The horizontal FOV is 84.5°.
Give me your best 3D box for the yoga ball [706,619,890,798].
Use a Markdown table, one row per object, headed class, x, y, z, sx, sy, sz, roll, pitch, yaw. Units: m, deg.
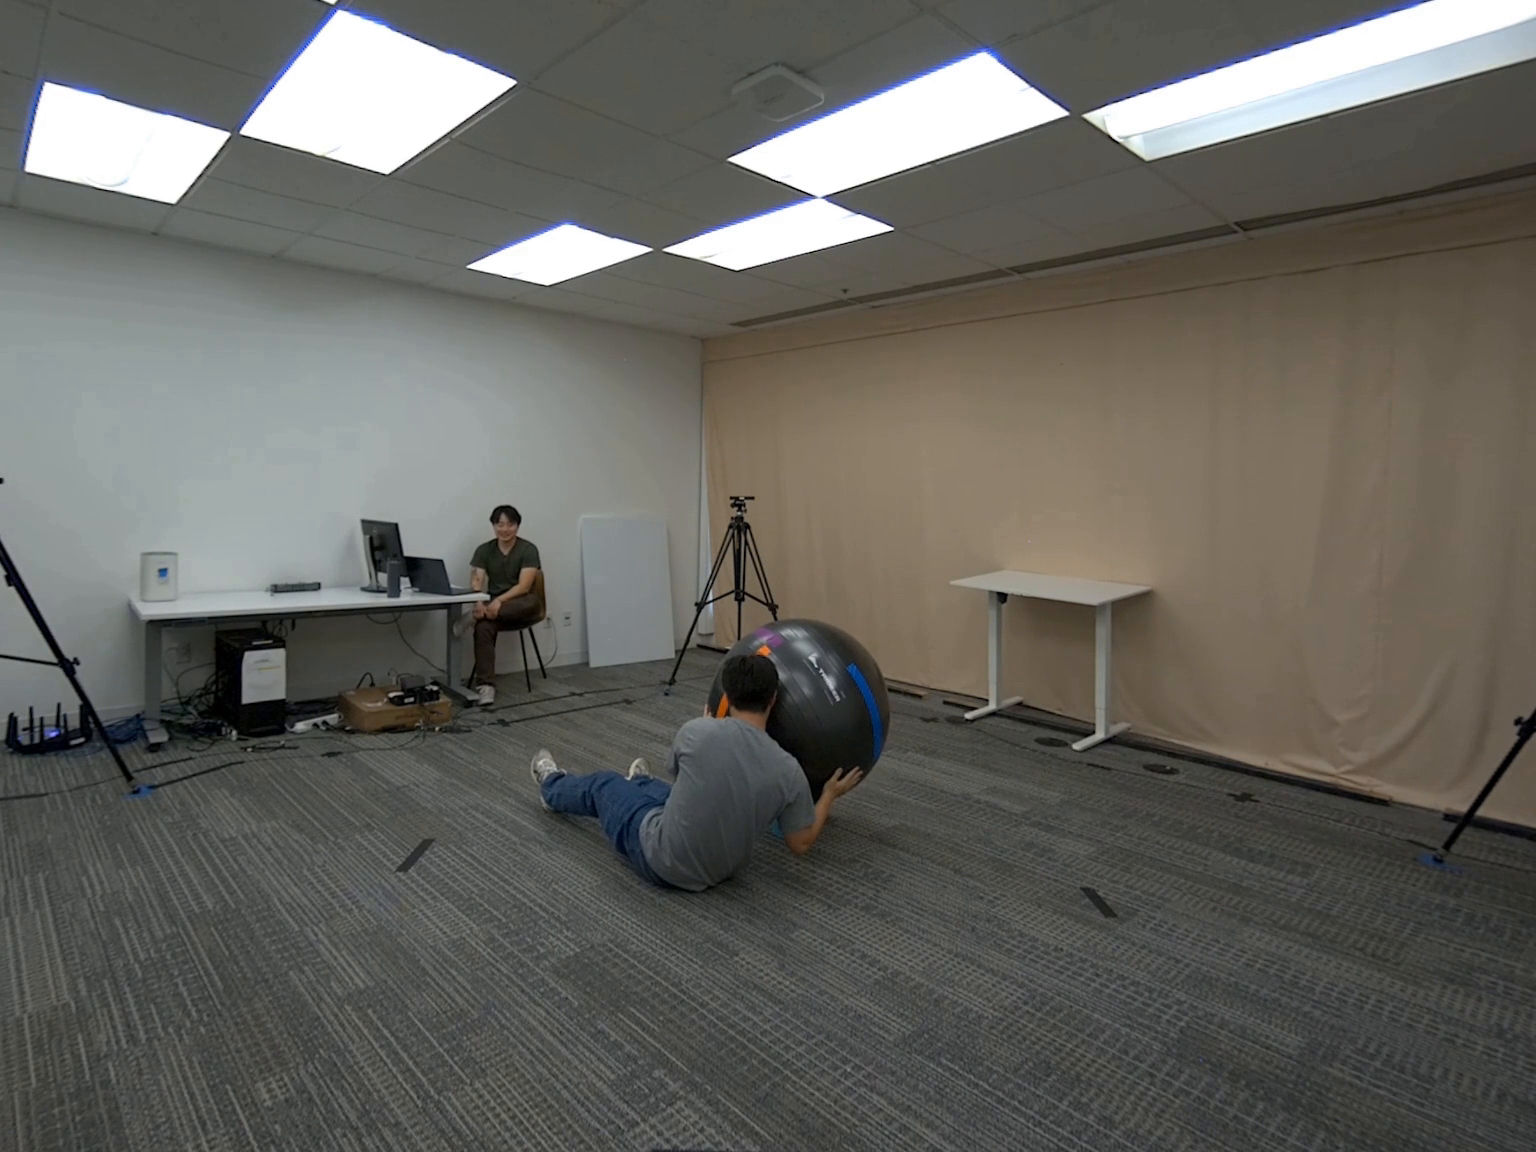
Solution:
| class | x | y | z | sx | sy | sz | roll | pitch | yaw |
| --- | --- | --- | --- | --- | --- | --- | --- | --- | --- |
| yoga ball | 0.114 | 0.563 | 3.521 | 0.757 | 0.756 | 0.761 | 1 | 4 | -1 |
